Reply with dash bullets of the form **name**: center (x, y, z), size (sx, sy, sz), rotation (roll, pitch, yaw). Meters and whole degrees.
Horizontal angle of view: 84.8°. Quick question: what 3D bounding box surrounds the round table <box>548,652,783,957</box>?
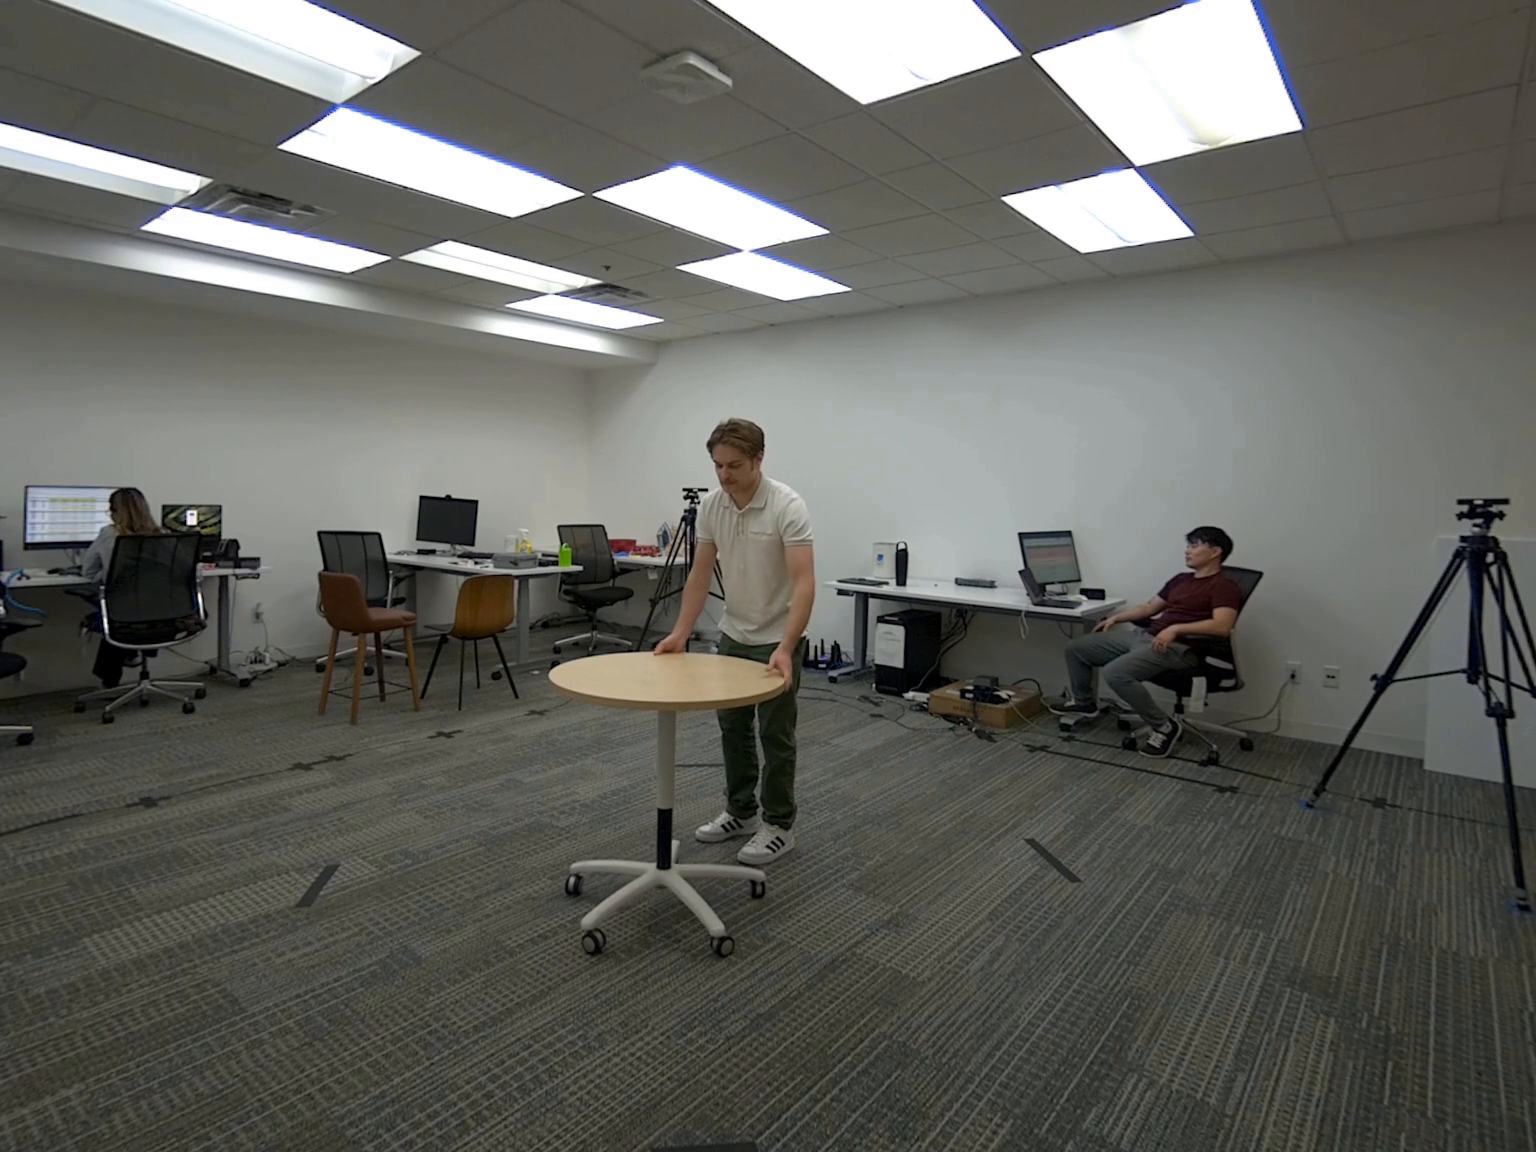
- **round table**: center (-0.350, 0.709, 2.786), size (0.763, 0.791, 0.768), rotation (1, 4, -2)
